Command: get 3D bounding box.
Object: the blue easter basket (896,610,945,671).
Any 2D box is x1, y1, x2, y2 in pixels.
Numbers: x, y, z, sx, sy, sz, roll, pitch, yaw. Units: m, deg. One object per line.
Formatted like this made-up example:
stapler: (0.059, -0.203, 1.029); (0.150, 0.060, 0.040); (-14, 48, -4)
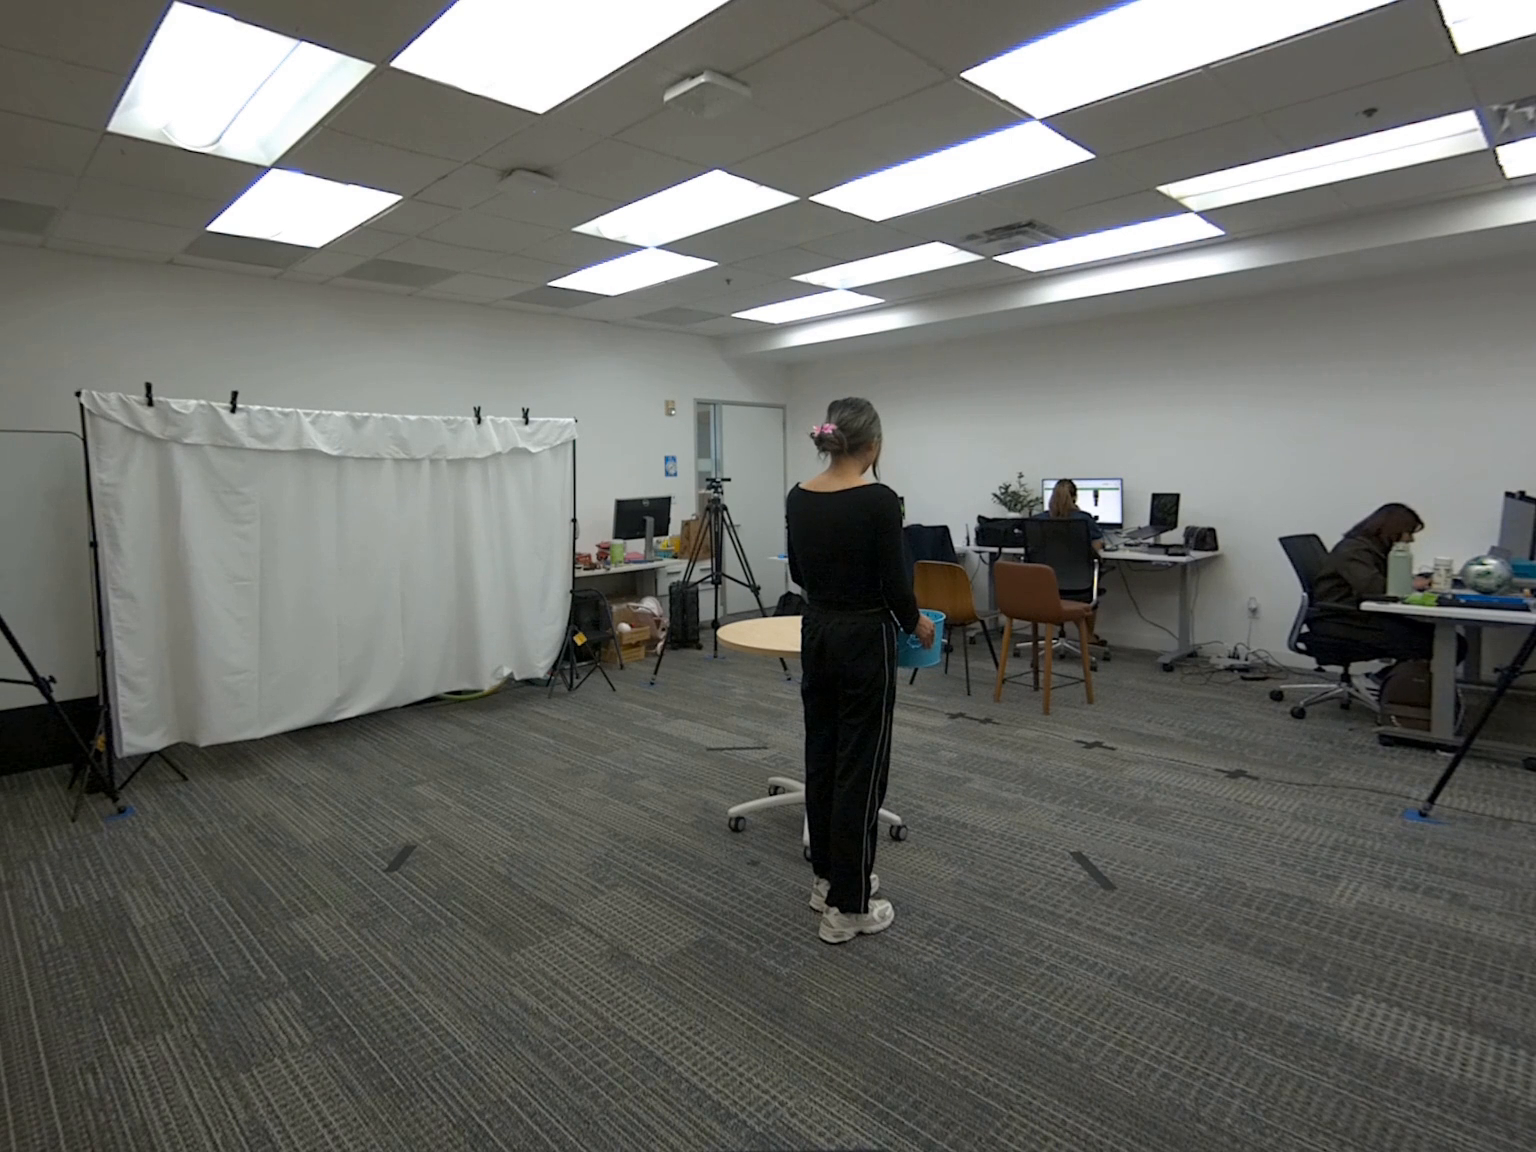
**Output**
blue easter basket: (0.511, 0.221, 2.896); (0.243, 0.155, 0.245); (-4, 8, -1)
